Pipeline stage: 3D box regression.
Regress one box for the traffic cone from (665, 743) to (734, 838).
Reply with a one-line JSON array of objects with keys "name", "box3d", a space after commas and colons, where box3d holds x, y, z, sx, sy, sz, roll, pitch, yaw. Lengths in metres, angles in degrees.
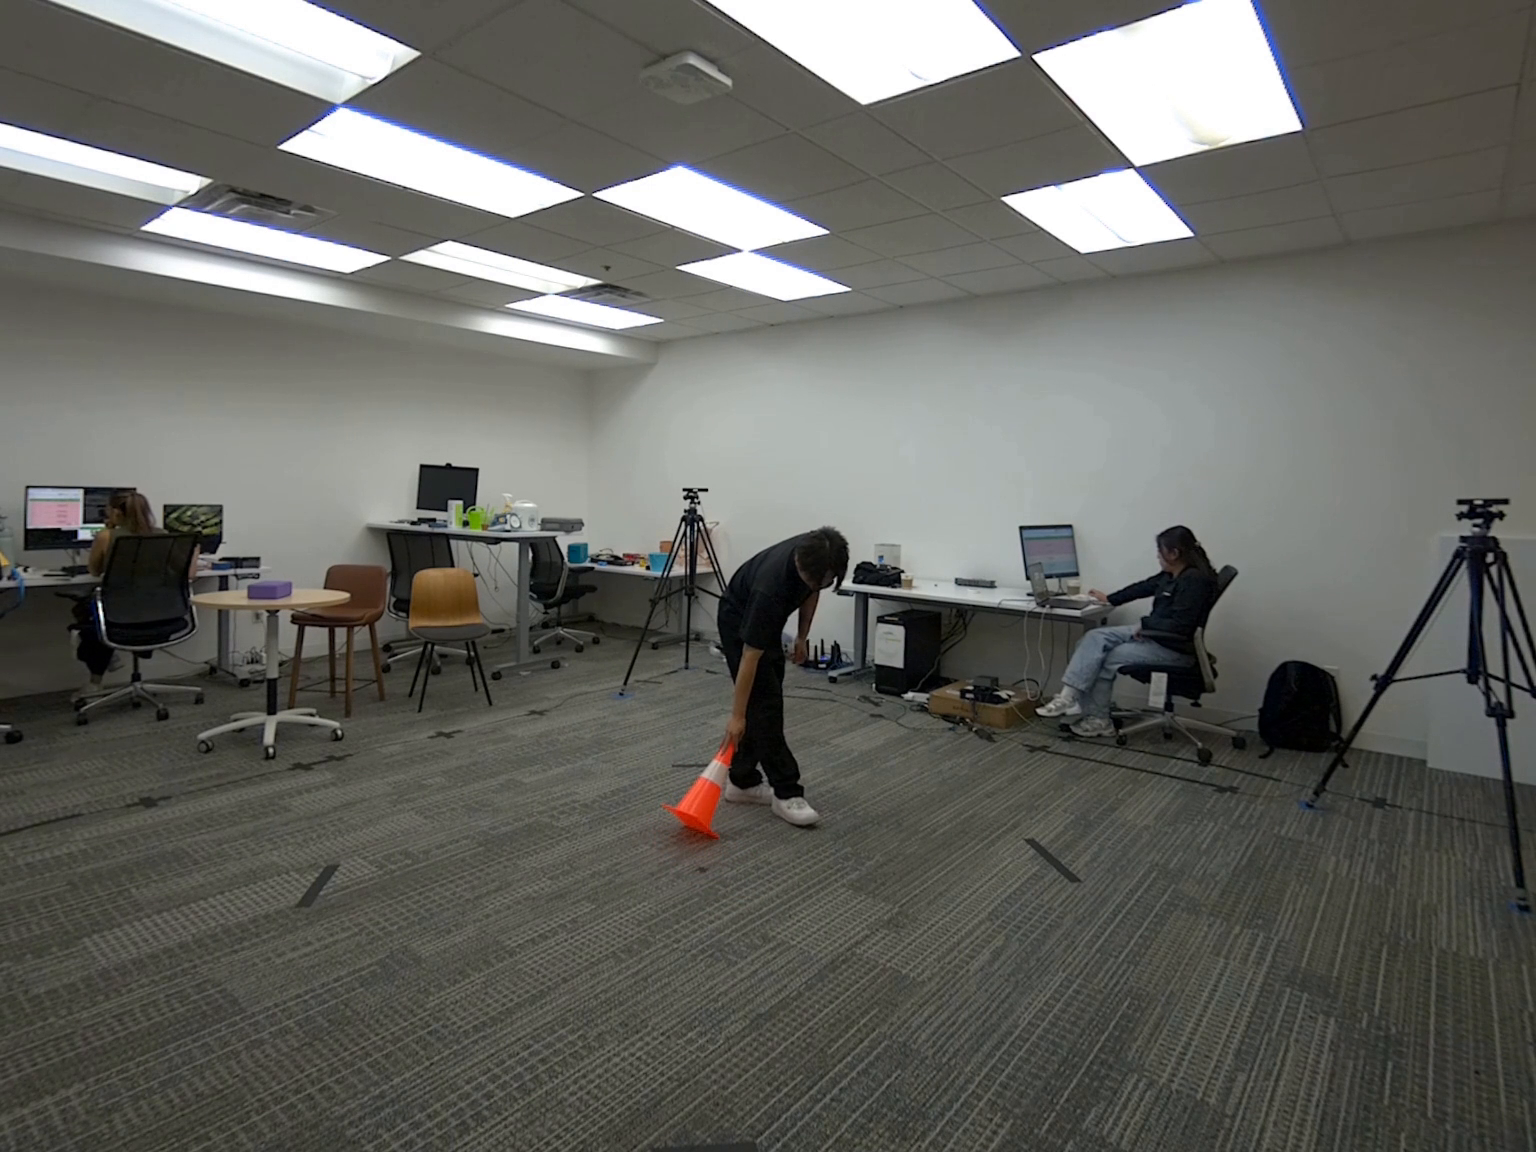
[{"name": "traffic cone", "box3d": [-0.239, 0.830, 3.486, 0.210, 0.386, 0.197, 4, -35, 42]}]
